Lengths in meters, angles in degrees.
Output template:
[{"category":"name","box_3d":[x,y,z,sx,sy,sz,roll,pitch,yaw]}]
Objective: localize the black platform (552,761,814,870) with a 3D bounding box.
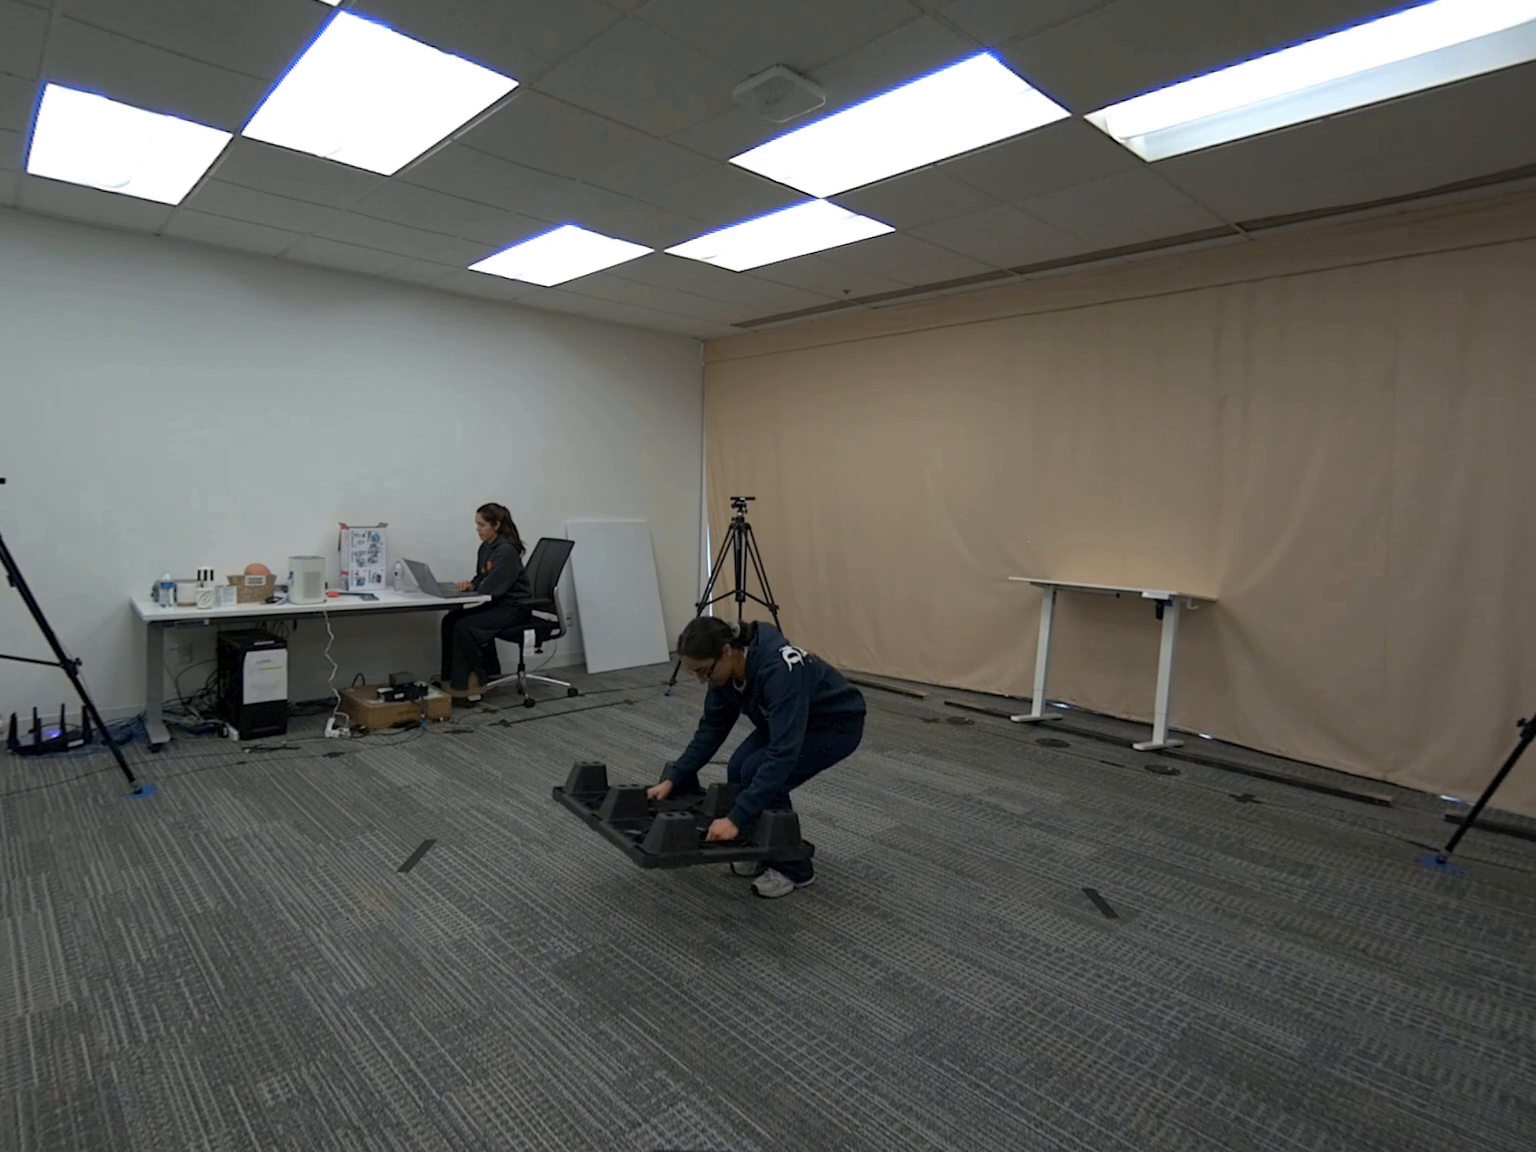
[{"category":"black platform","box_3d":[-0.306,0.773,2.829,0.591,0.143,0.823,7,-2,-33]}]
